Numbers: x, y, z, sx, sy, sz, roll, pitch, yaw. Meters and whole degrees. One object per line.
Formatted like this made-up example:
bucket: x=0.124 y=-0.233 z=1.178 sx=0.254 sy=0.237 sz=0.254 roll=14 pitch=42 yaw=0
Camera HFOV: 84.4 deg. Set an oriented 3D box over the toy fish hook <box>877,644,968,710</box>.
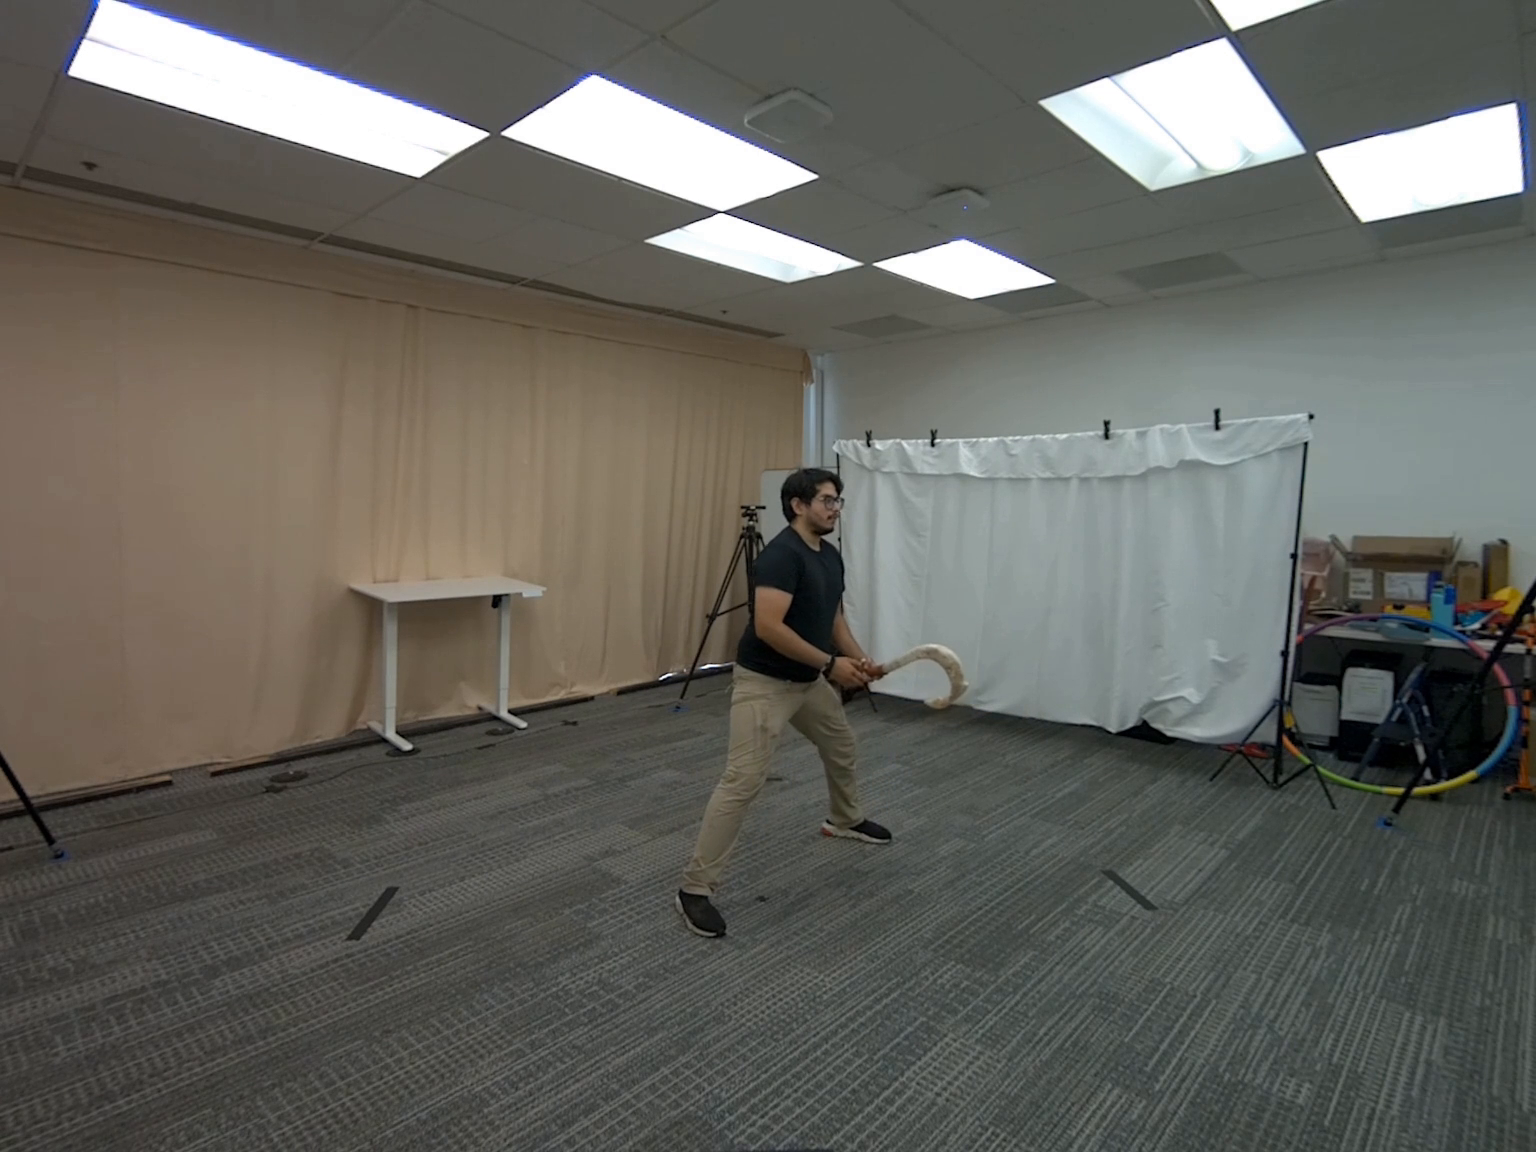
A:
toy fish hook: x=0.485 y=0.376 z=2.978 sx=0.047 sy=0.225 sz=0.519 roll=-15 pitch=-1 yaw=-43
